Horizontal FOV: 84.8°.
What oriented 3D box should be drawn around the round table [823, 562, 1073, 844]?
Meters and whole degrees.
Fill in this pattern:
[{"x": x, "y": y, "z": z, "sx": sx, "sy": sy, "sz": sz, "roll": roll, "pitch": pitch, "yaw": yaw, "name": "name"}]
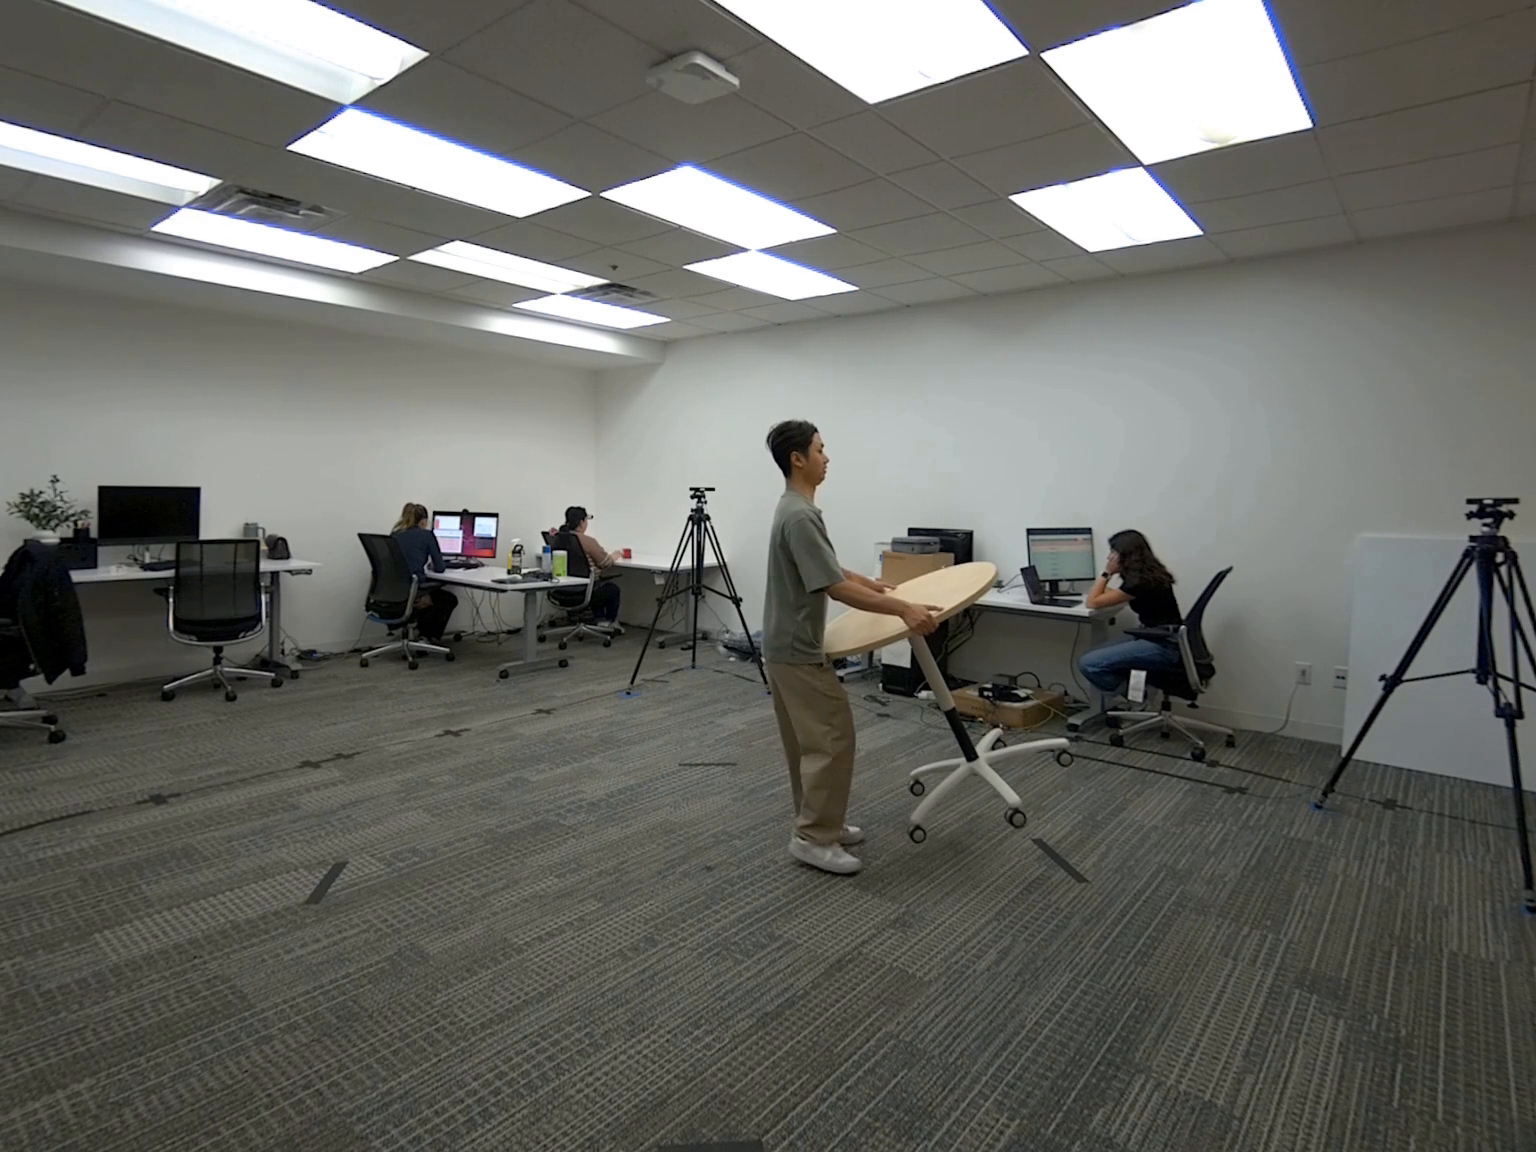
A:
[{"x": 0.670, "y": 0.480, "z": 3.268, "sx": 0.785, "sy": 0.782, "sz": 0.789, "roll": -26, "pitch": 5, "yaw": 0, "name": "round table"}]
